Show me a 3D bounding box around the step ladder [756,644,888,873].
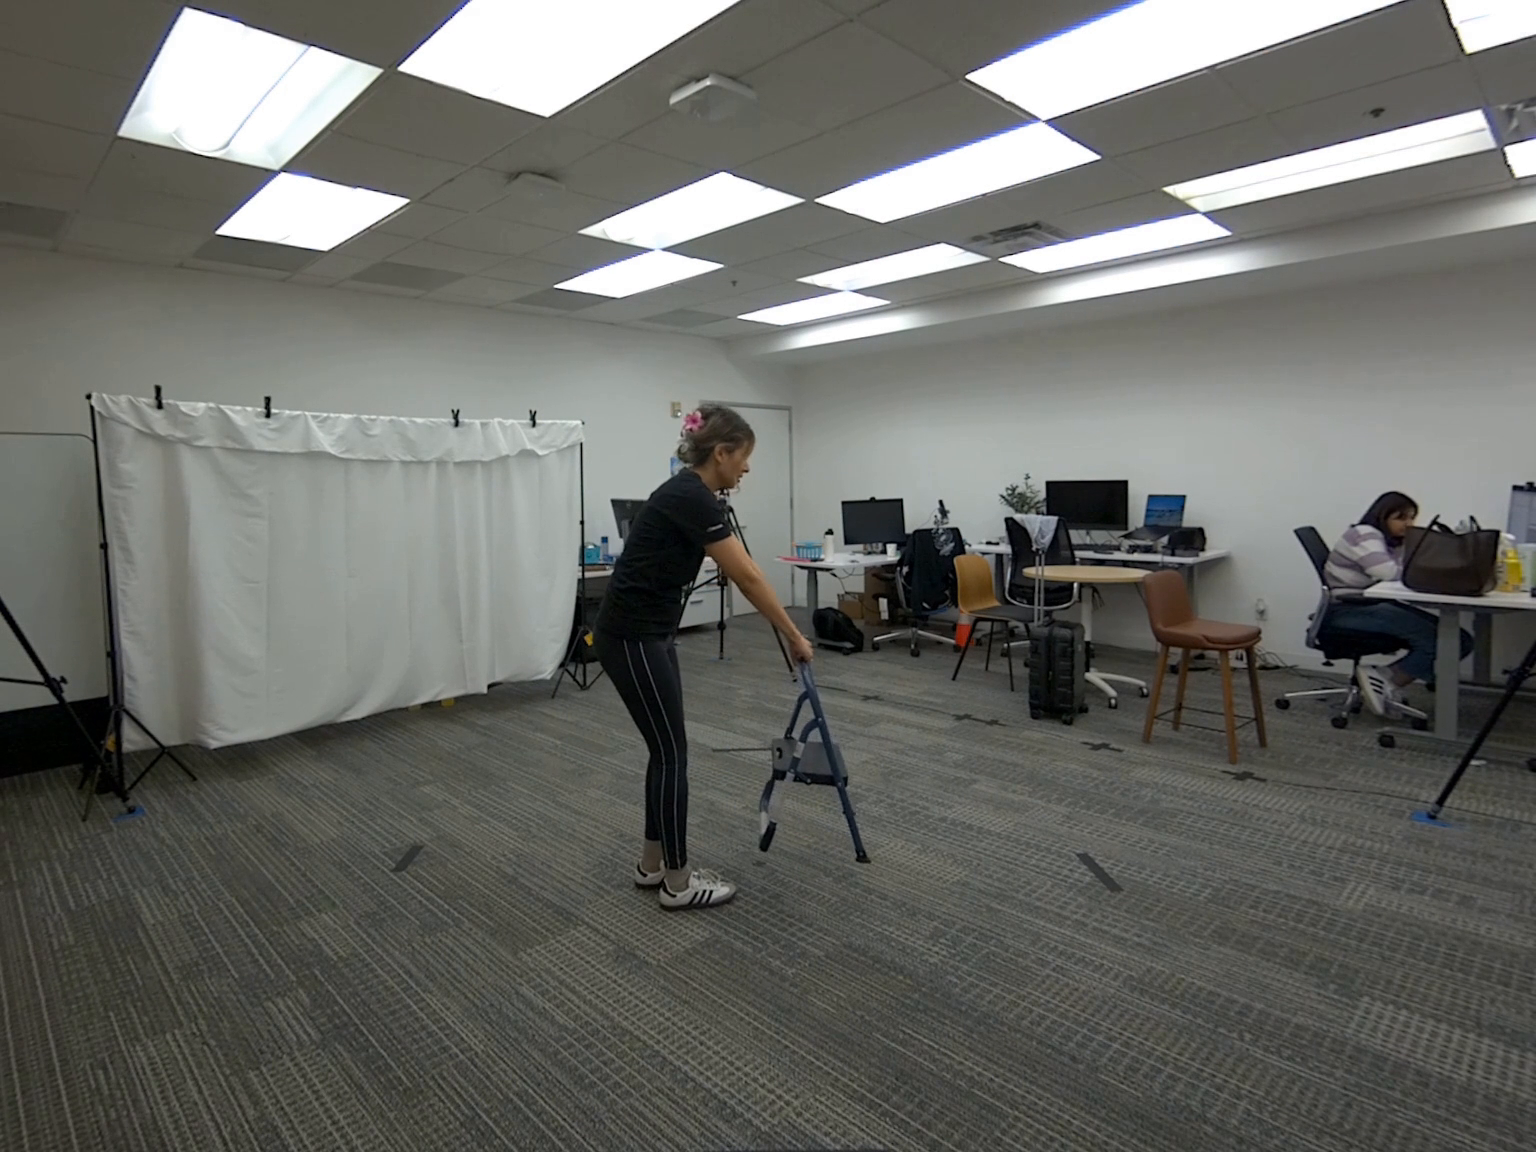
[{"bbox_3d":[0.165,0.586,2.891,0.350,0.604,0.431,6,4,0],"label":"step ladder"}]
